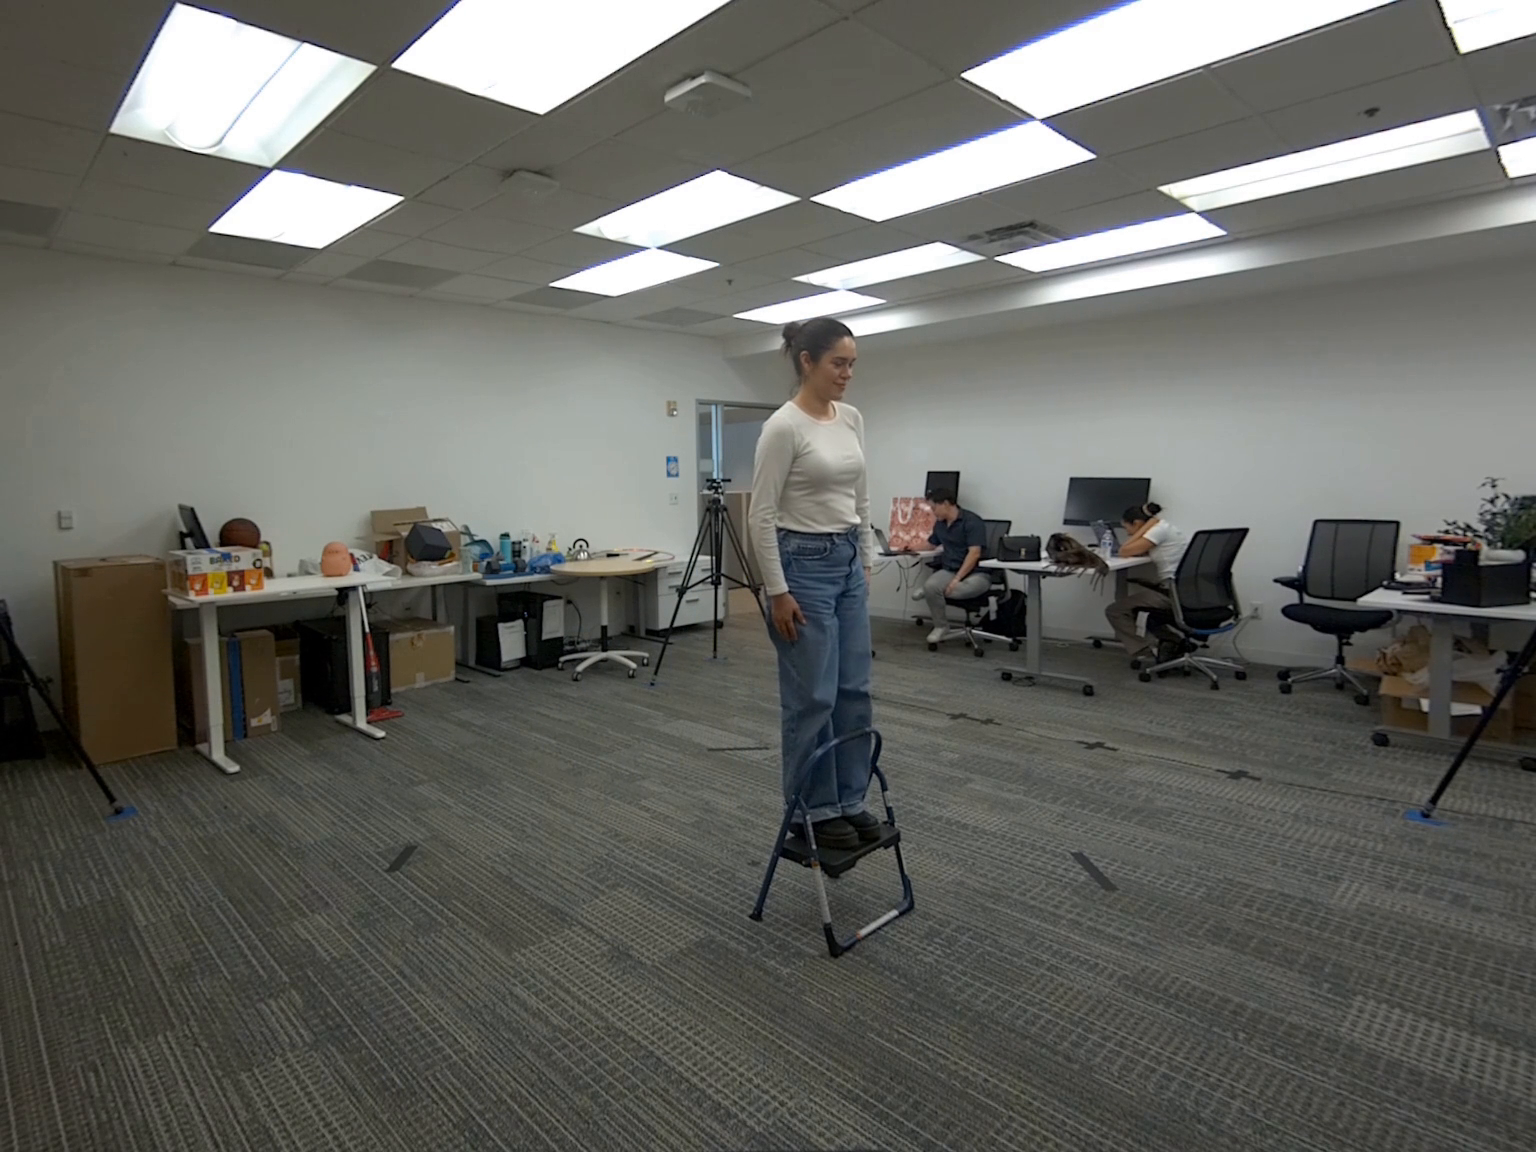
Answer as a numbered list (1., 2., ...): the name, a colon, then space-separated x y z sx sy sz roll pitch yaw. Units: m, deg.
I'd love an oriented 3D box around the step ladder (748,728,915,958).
1. step ladder: 0.207 0.780 2.727 0.360 0.604 0.419 3 6 44
